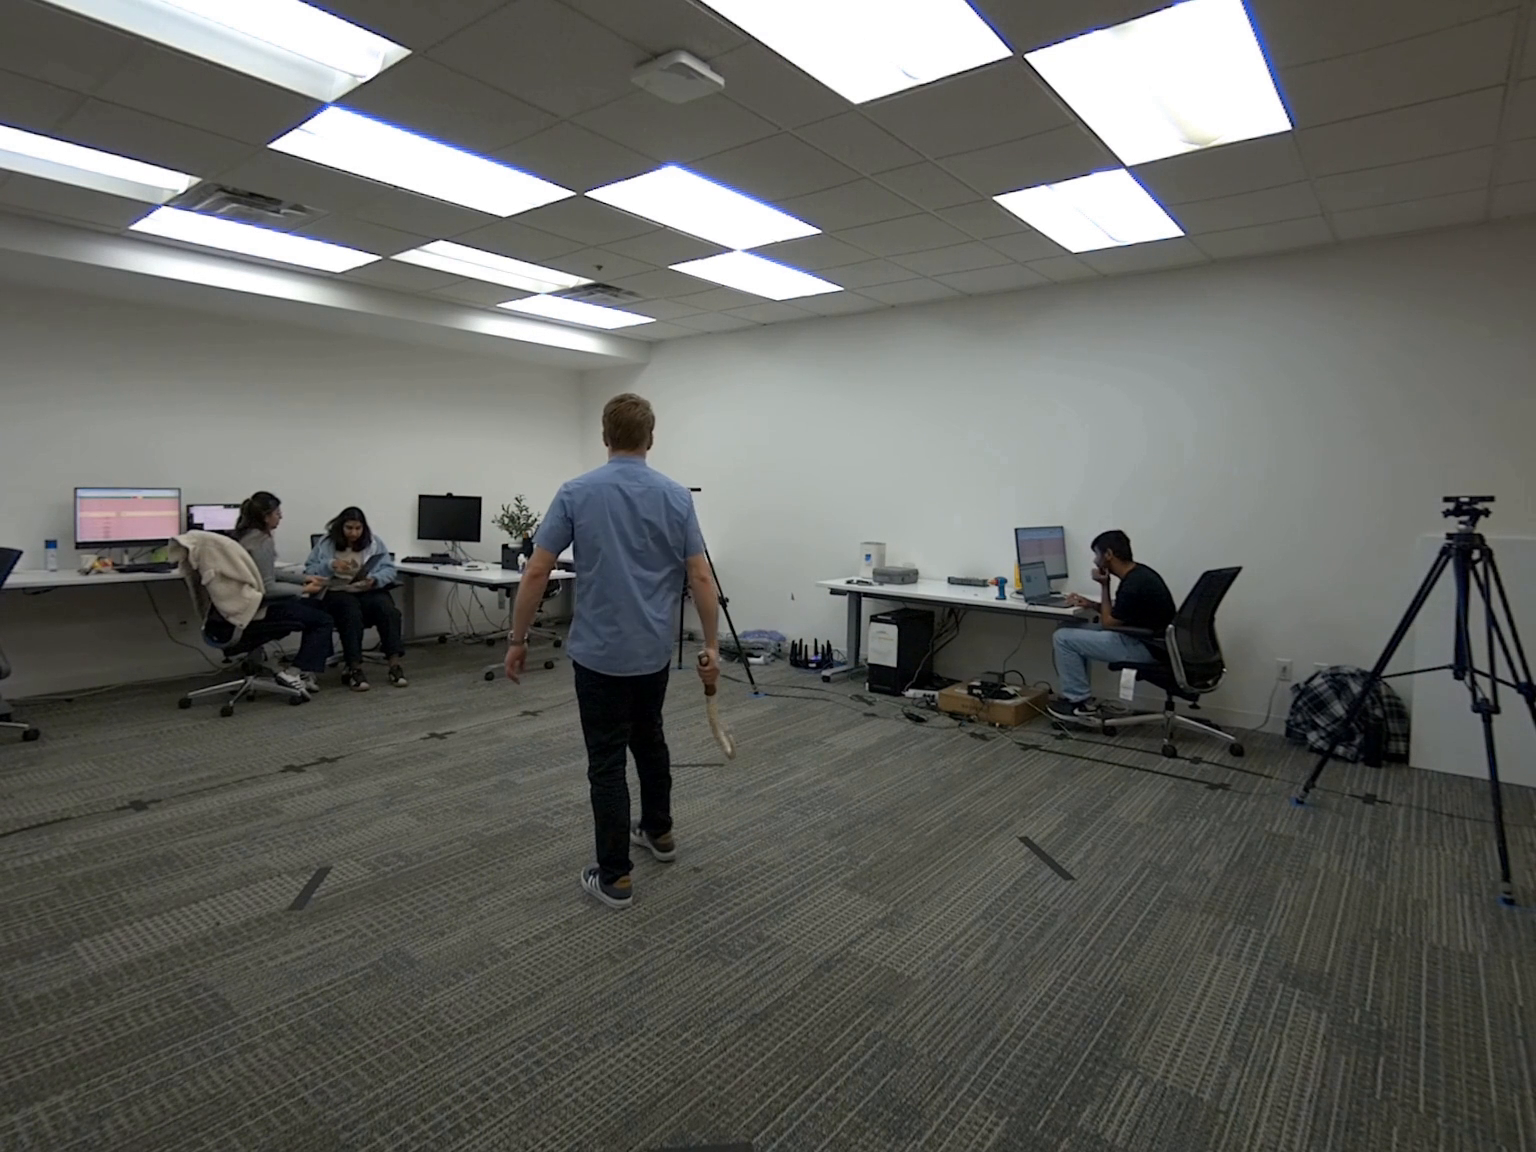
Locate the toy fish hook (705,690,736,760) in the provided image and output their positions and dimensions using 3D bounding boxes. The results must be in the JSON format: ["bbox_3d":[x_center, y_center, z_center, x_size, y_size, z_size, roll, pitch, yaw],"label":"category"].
[{"bbox_3d":[-0.198,0.480,3.082,0.048,0.490,0.234,-24,44,-18],"label":"toy fish hook"}]
